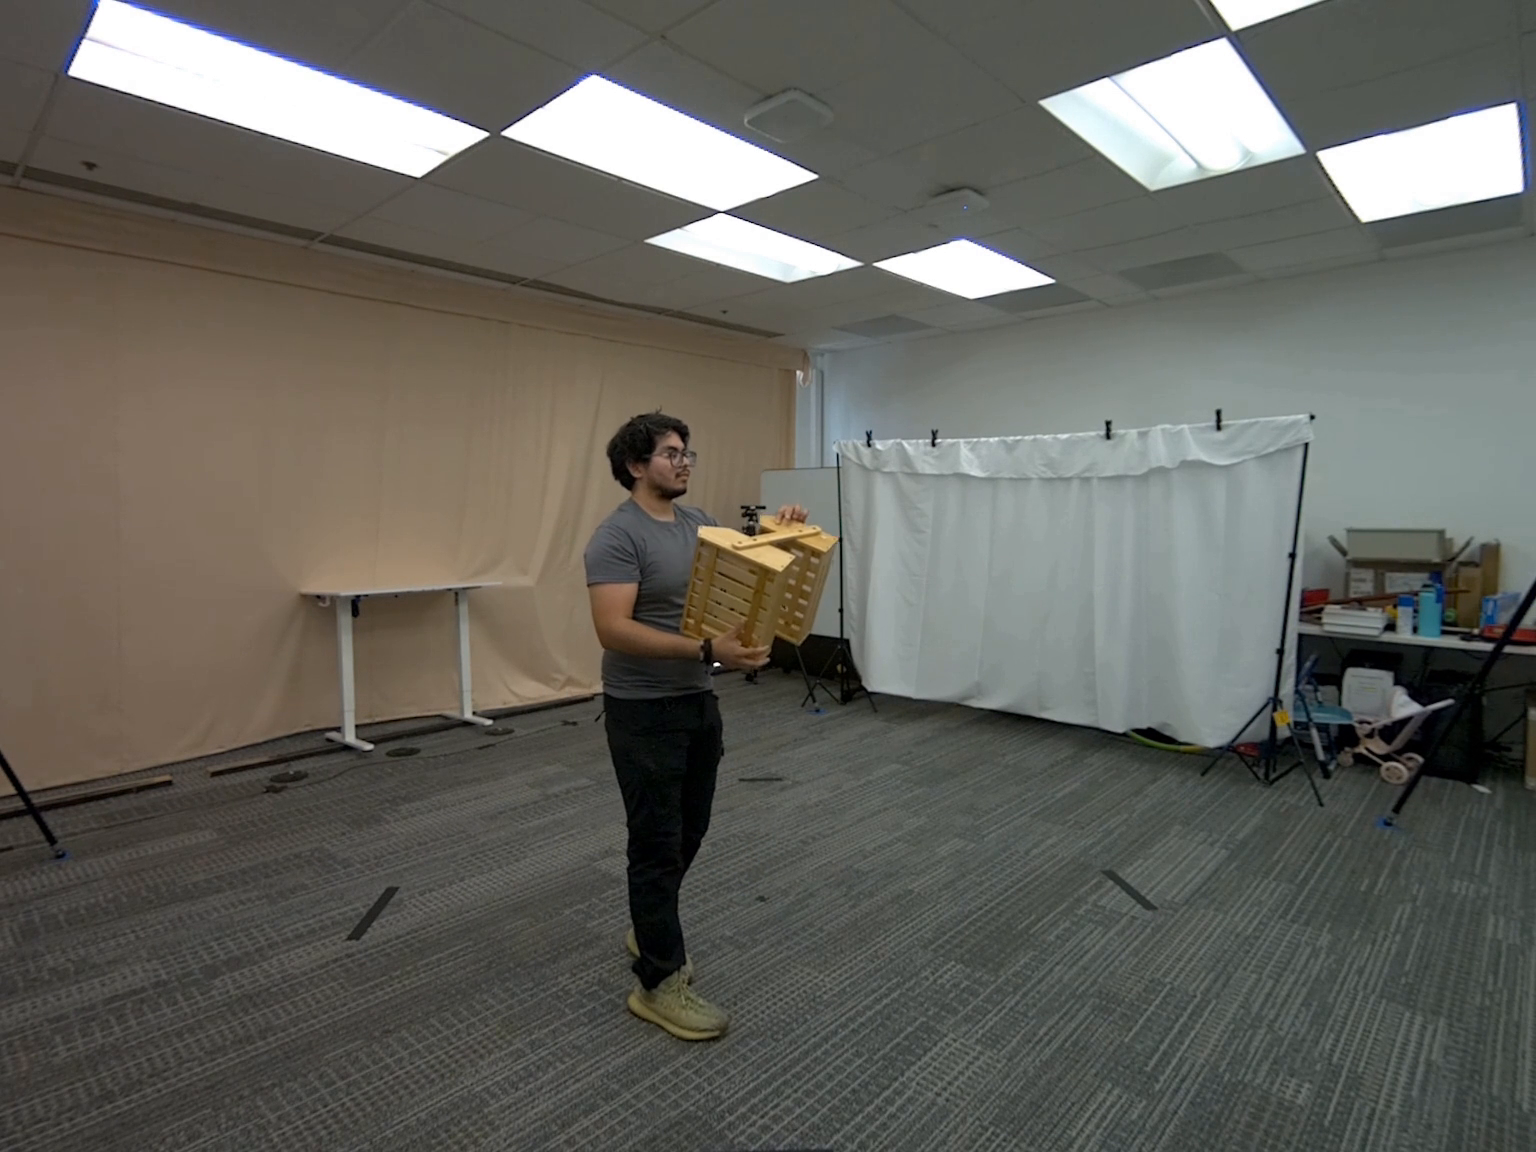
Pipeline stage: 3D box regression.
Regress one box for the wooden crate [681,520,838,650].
[{"bbox_3d":[-0.027,0.020,2.203,0.309,0.321,0.270,23,32,17],"label":"wooden crate"}]
